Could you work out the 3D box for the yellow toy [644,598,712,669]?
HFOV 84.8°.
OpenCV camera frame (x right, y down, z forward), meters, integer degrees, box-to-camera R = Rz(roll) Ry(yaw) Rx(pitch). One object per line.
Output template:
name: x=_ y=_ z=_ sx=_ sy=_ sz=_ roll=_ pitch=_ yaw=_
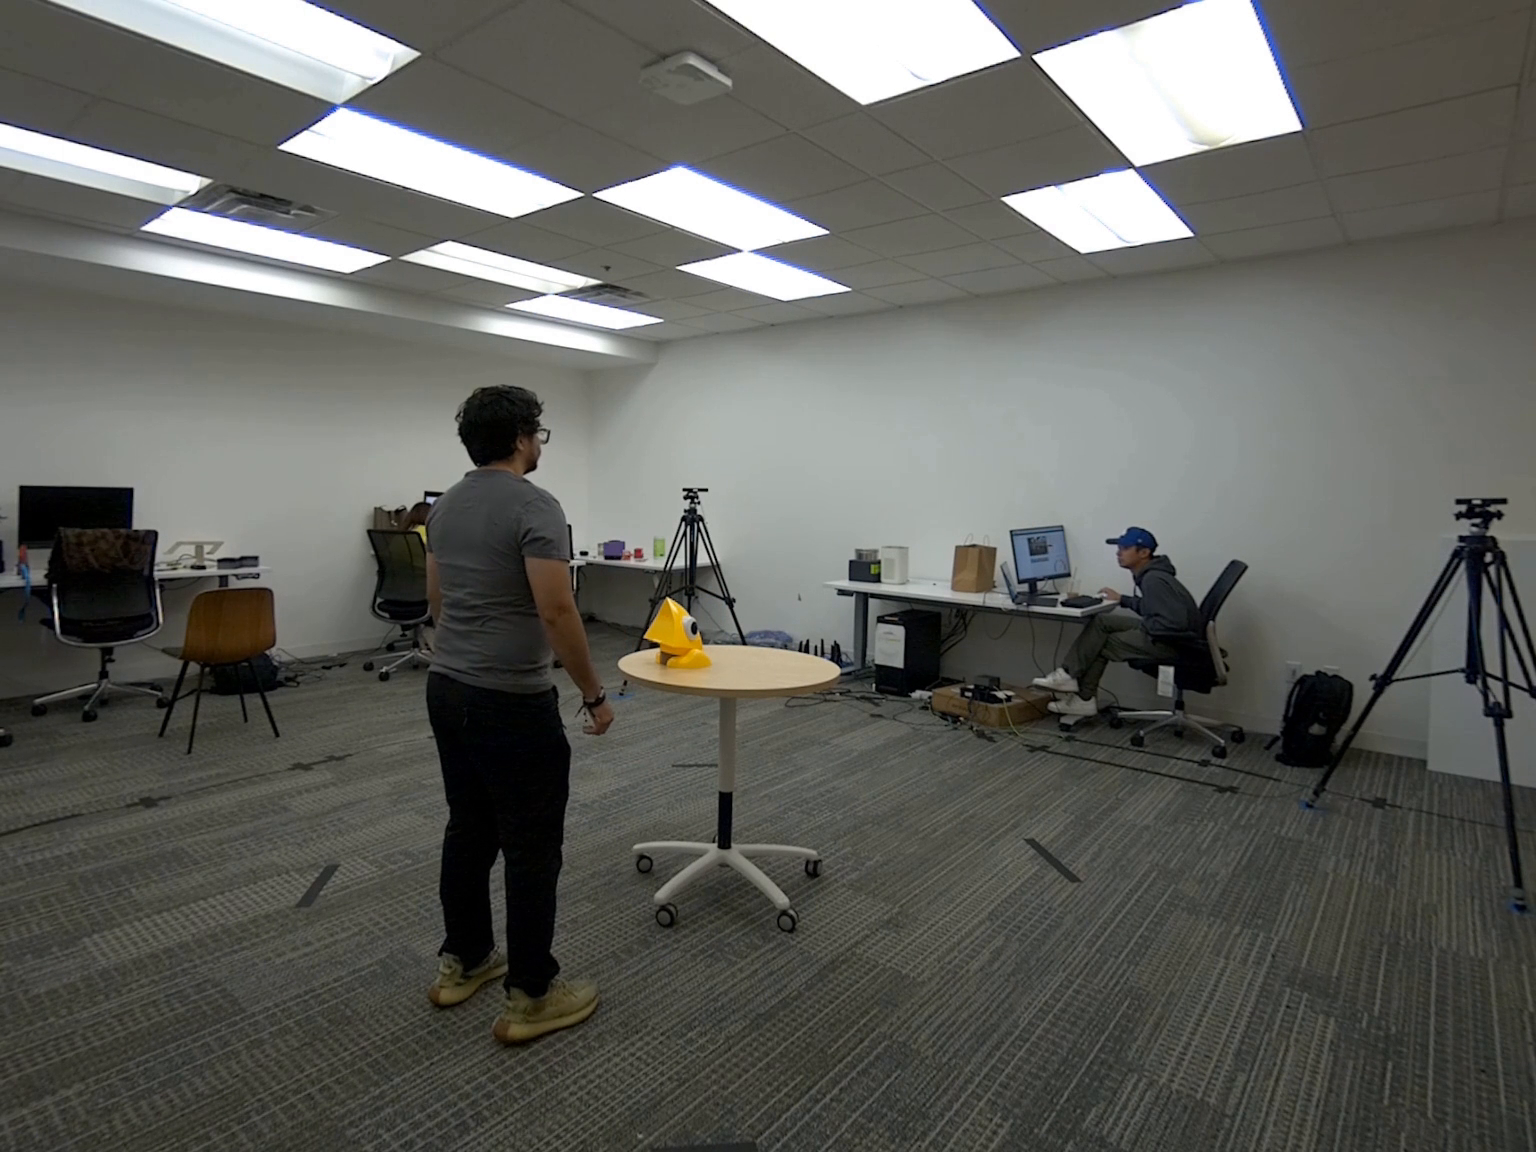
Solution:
yellow toy: x=-0.312 y=0.184 z=2.947 sx=0.187 sy=0.230 sz=0.211 roll=-1 pitch=4 yaw=-35
